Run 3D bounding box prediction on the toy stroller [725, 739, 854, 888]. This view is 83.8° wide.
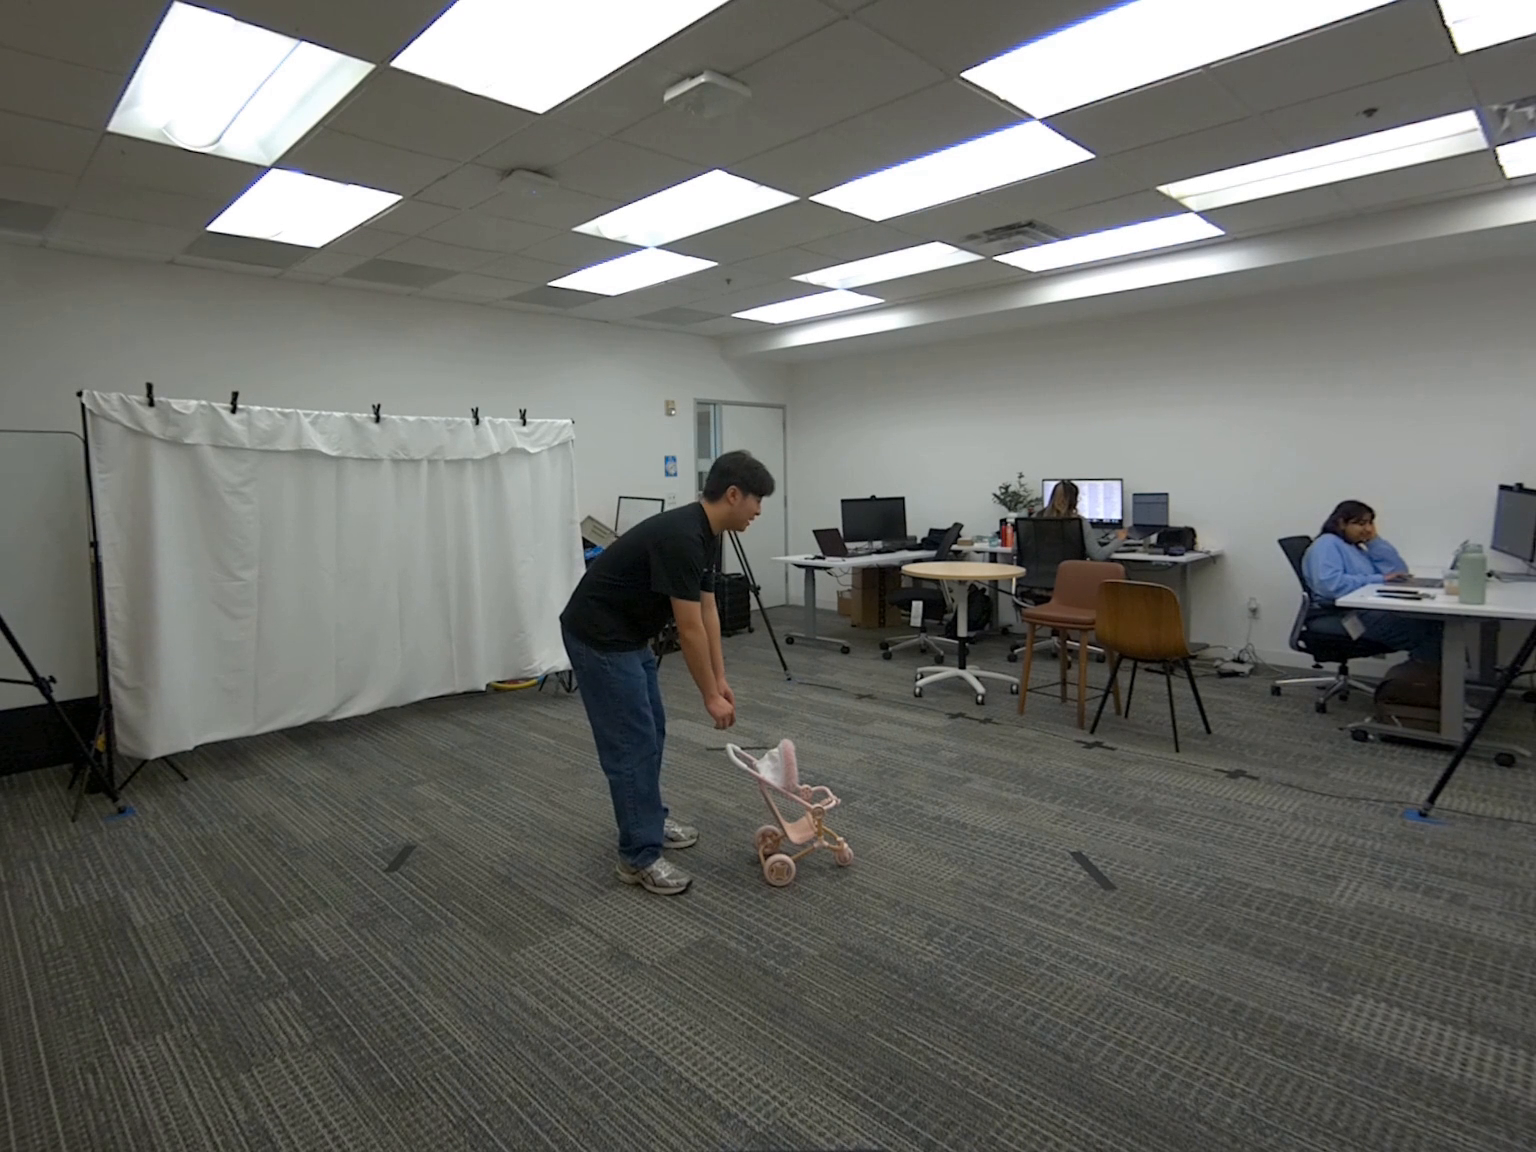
[{"bbox_3d":[0.093,0.823,3.046,0.341,0.533,0.283,-16,4,-1],"label":"toy stroller"}]
